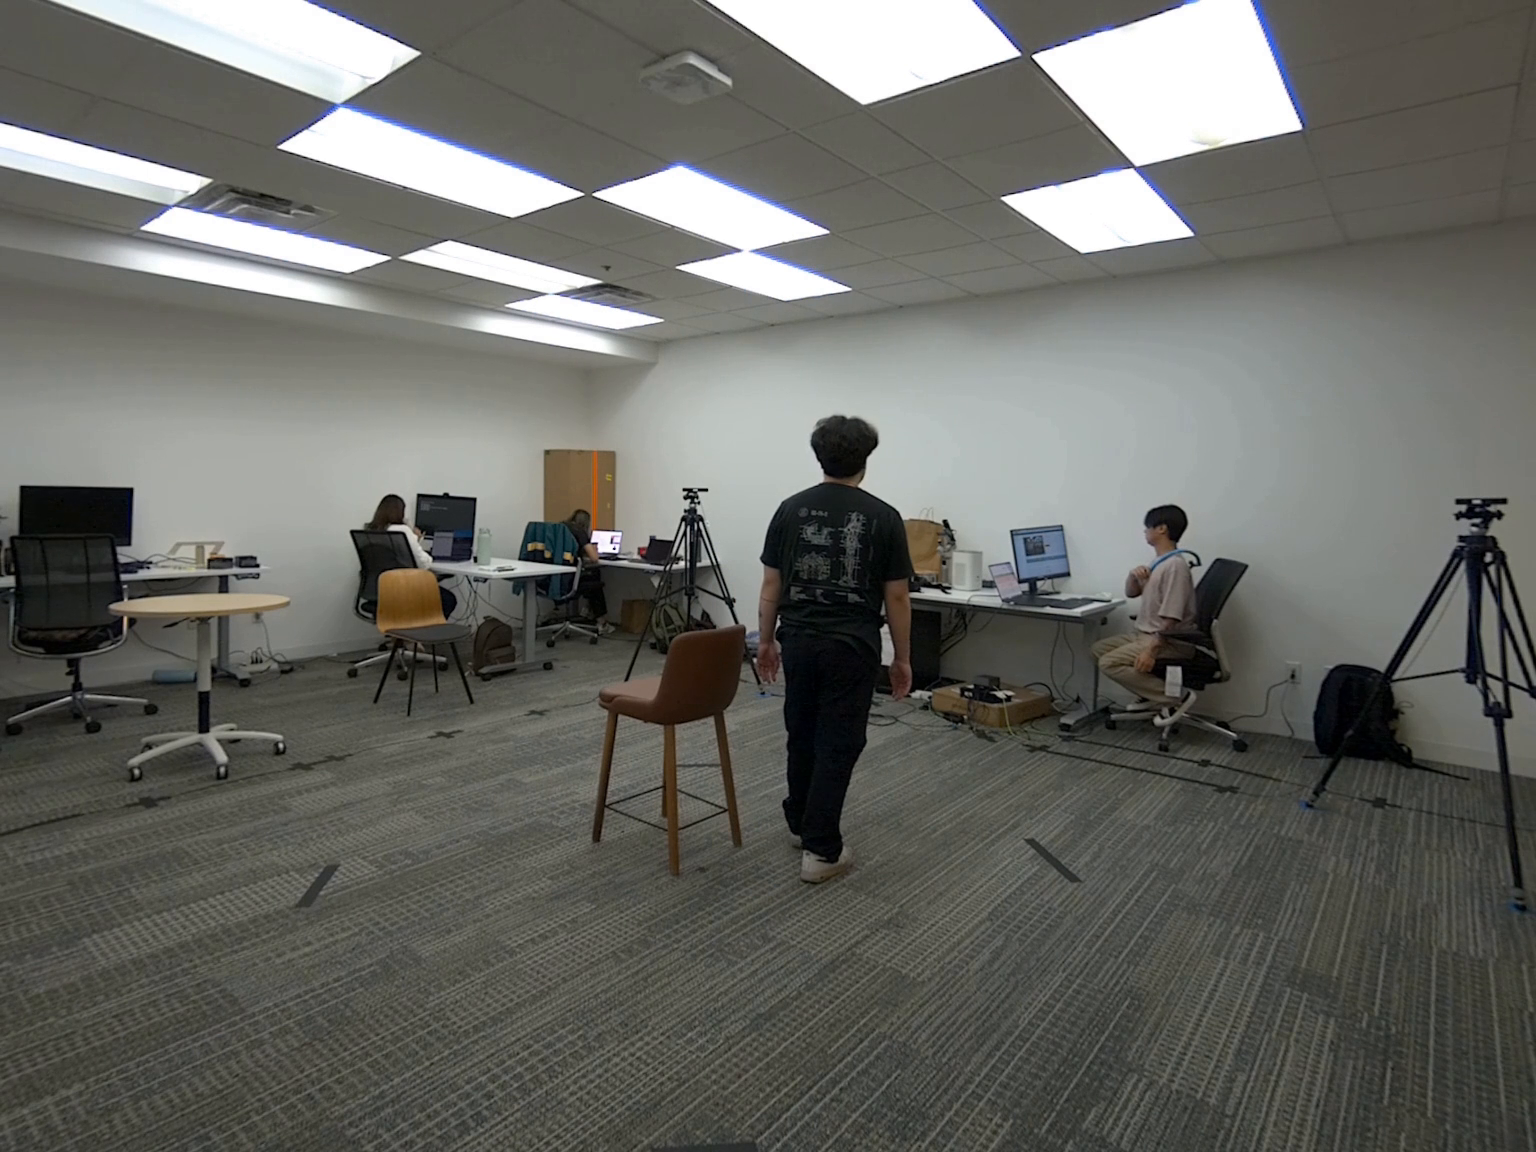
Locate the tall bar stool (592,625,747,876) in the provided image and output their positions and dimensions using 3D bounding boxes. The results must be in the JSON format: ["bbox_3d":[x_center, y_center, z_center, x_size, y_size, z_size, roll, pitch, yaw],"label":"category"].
[{"bbox_3d":[-0.388,0.611,3.315,0.484,0.887,0.442,6,5,41],"label":"tall bar stool"}]
